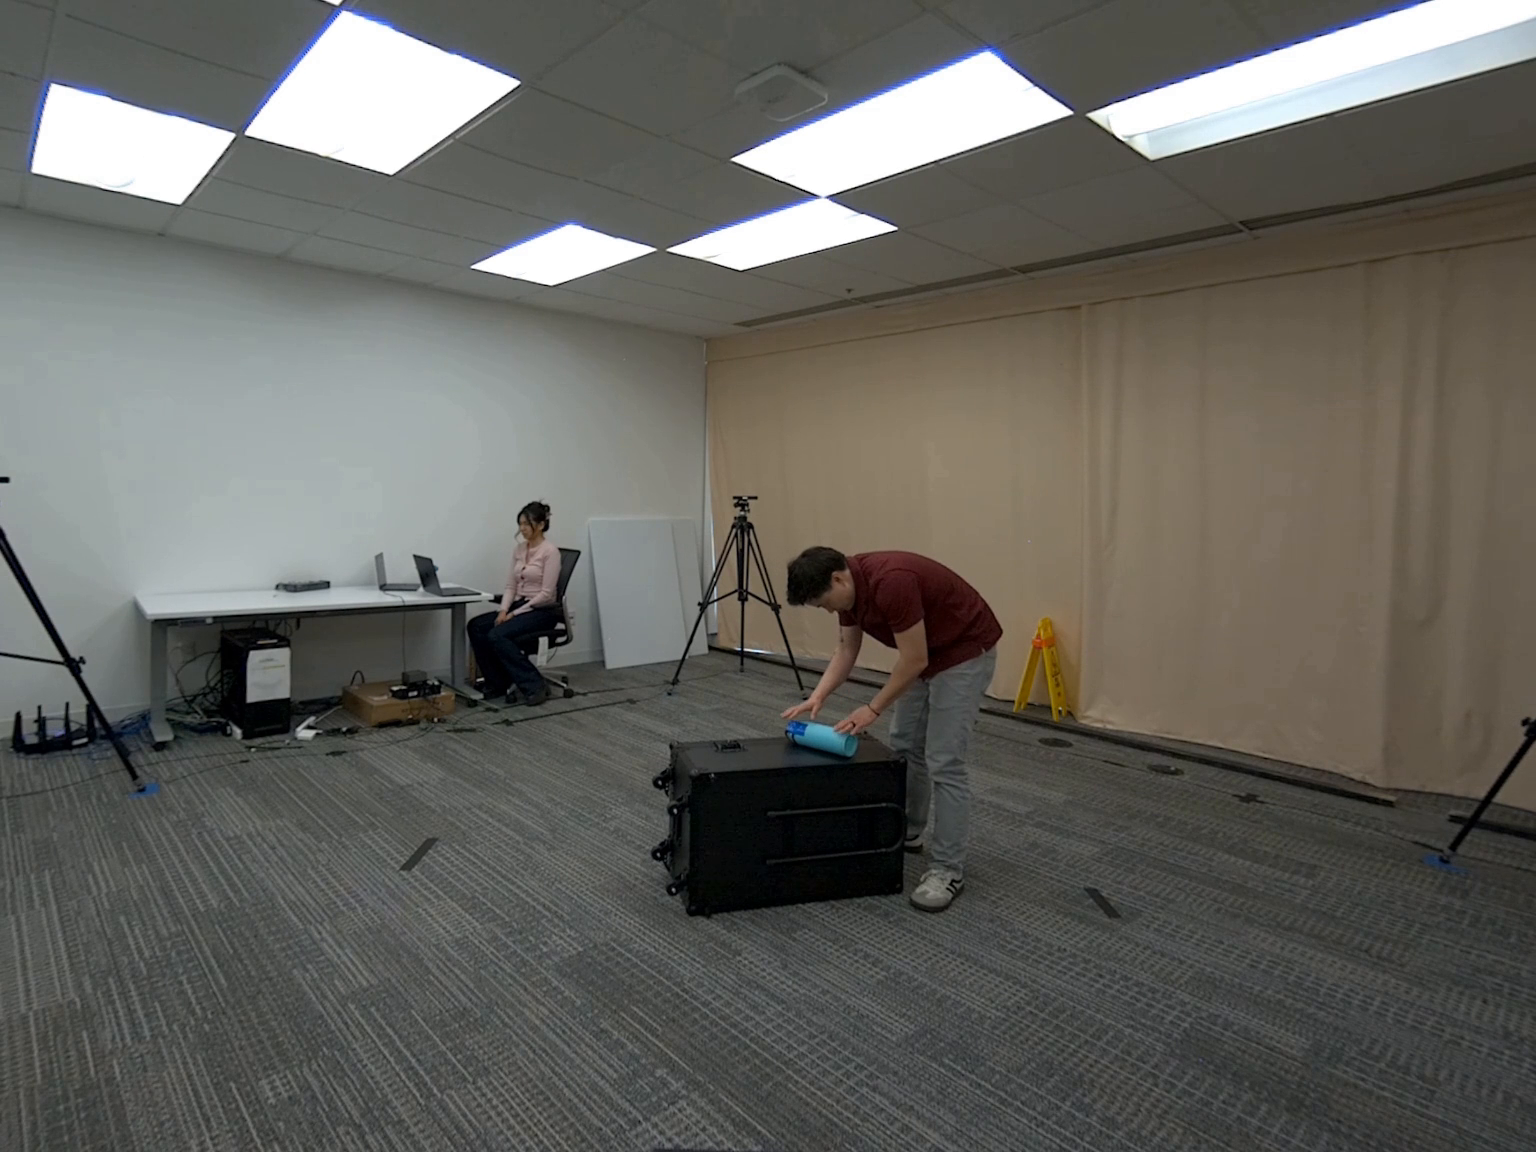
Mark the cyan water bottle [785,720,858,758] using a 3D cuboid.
[{"bbox_3d":[0.178,0.579,3.070,0.290,0.092,0.090,6,6,40],"label":"cyan water bottle"}]
